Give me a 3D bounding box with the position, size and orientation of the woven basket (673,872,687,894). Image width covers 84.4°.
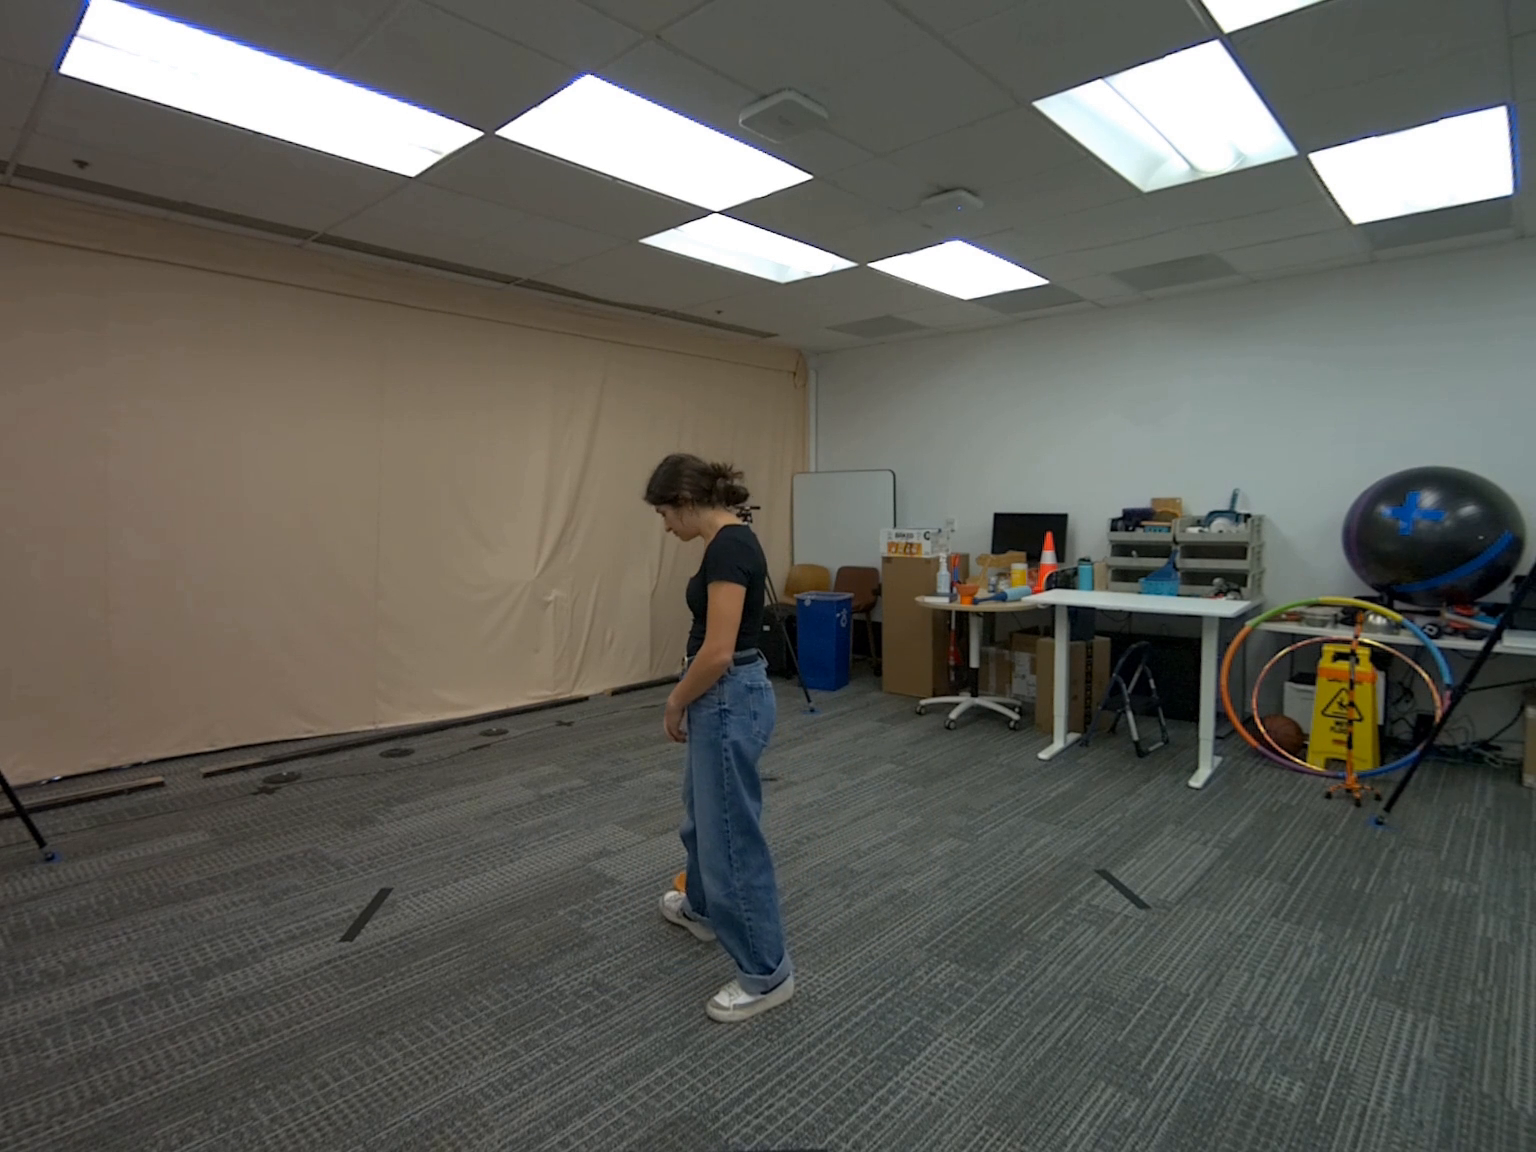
[{"bbox_3d":[-0.177,1.106,2.917,0.361,0.073,0.245,3,3,35],"label":"woven basket"}]
